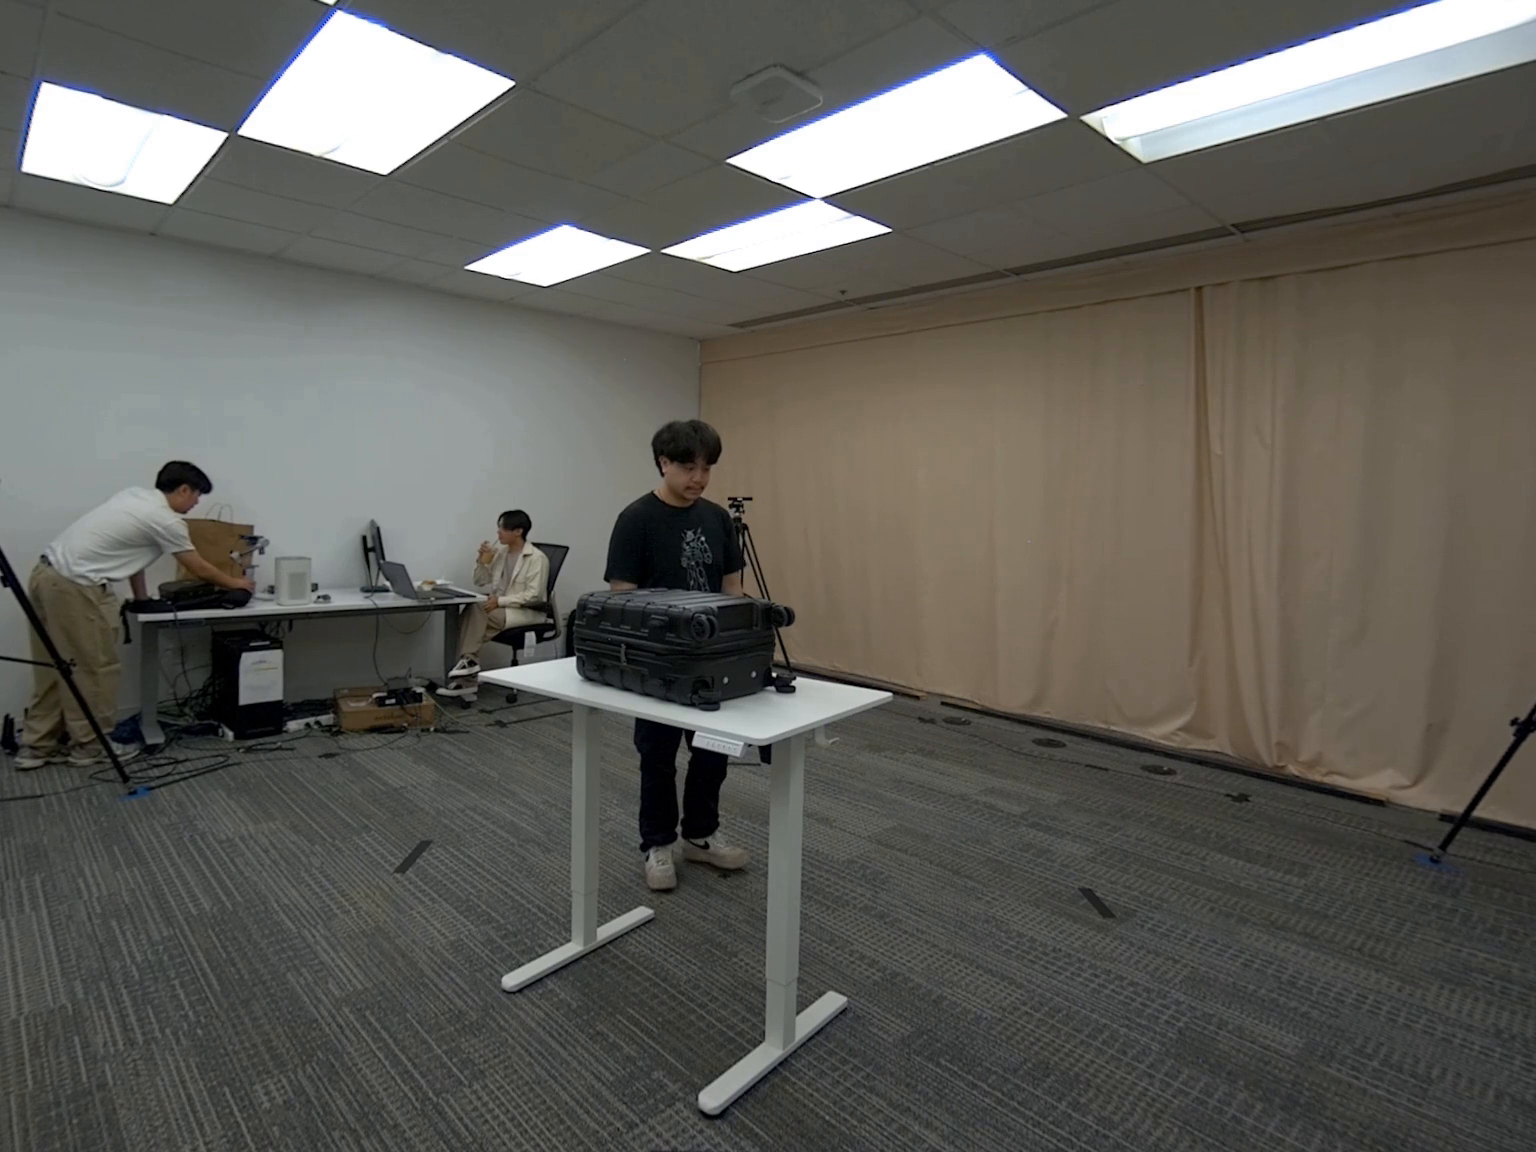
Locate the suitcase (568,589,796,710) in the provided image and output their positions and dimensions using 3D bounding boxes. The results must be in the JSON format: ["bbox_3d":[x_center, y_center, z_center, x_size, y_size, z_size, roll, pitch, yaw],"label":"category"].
[{"bbox_3d":[-0.255,0.186,2.271,0.563,0.247,0.367,5,7,41],"label":"suitcase"}]
